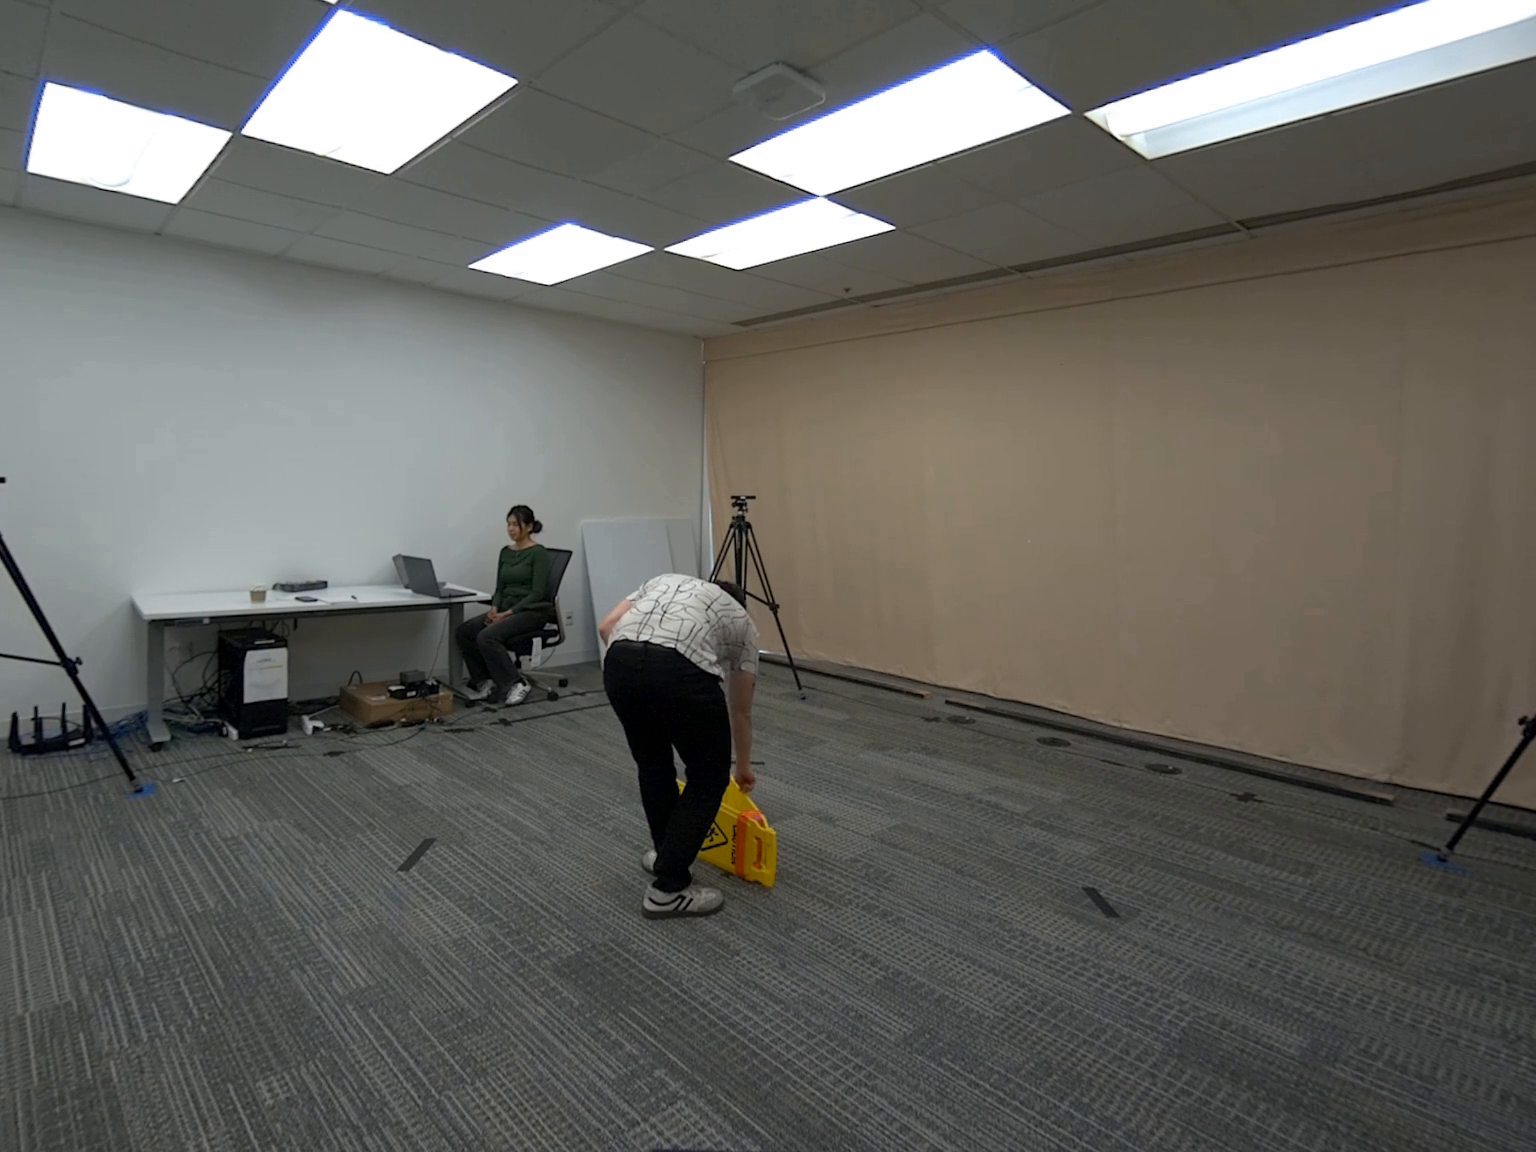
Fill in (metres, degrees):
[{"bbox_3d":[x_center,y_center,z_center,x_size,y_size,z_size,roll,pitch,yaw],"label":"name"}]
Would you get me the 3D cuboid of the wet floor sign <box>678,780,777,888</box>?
[{"bbox_3d":[-0.167,0.959,3.228,0.283,0.281,0.662,-1,8,-33],"label":"wet floor sign"}]
